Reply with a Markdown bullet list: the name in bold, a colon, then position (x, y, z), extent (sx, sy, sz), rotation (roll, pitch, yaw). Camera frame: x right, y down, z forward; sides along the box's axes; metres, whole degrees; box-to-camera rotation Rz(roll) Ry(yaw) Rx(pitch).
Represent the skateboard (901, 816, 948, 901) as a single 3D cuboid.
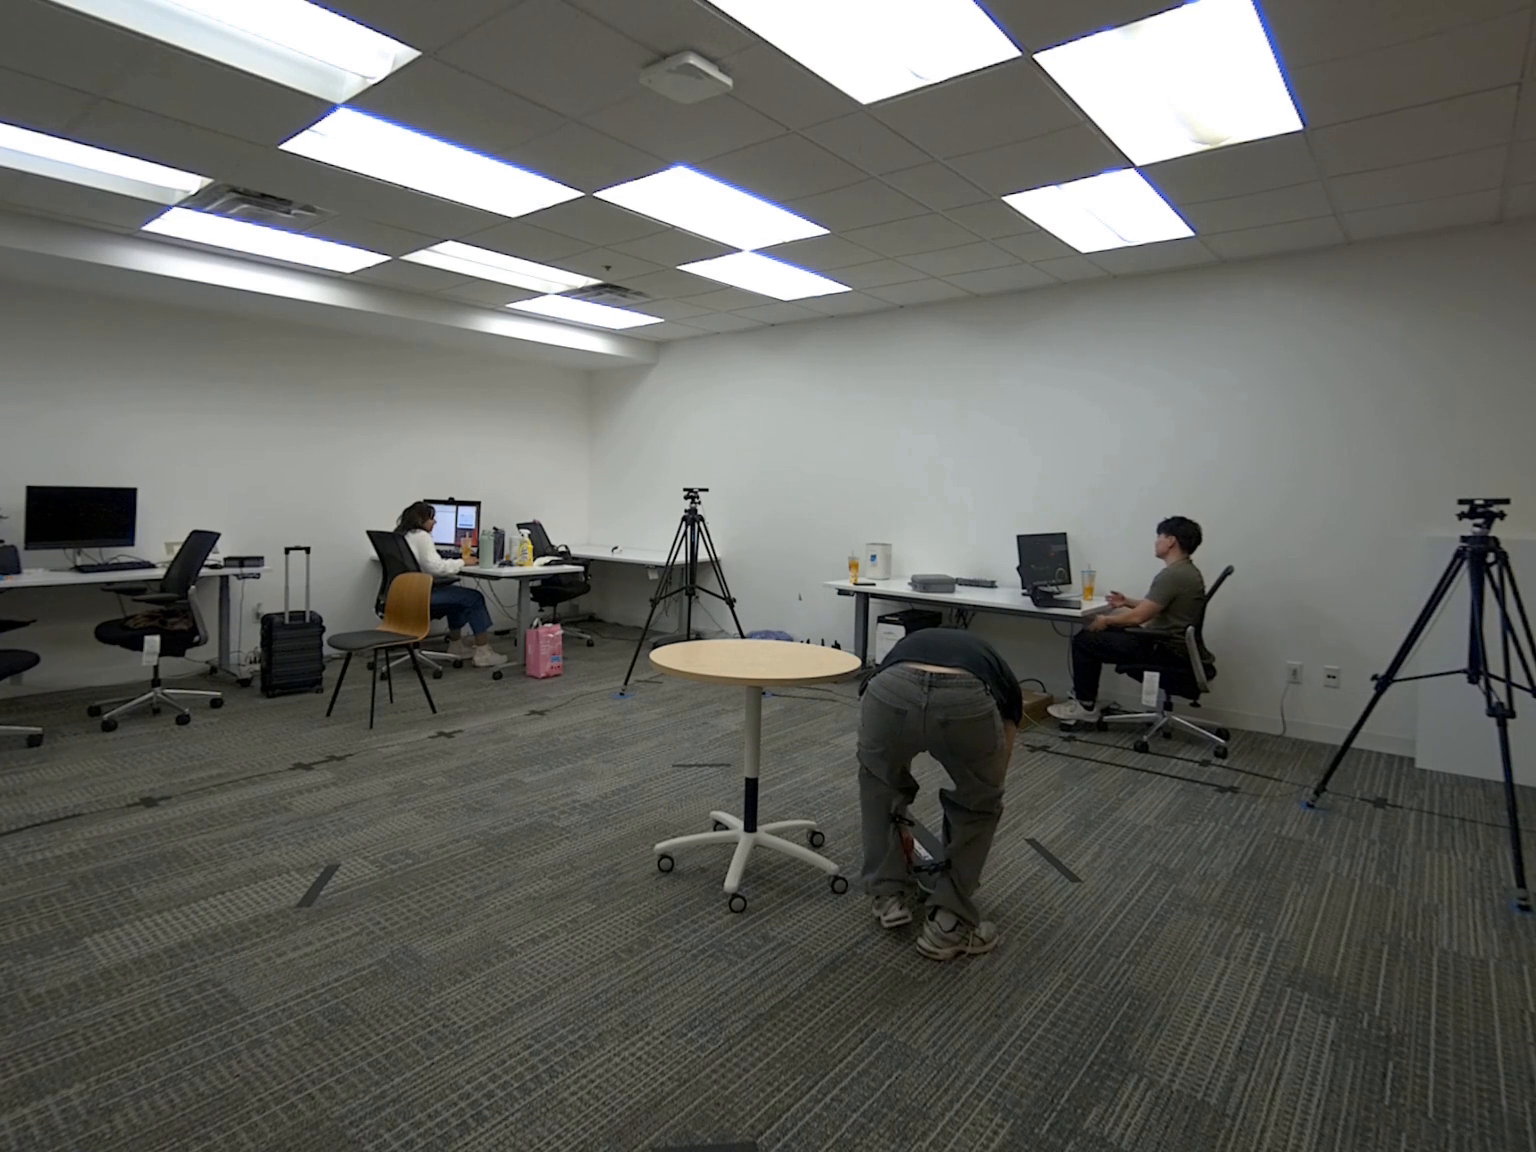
- **skateboard**: position (0.536, 1.017, 3.119), extent (0.191, 0.110, 0.798), rotation (-3, 7, -12)
